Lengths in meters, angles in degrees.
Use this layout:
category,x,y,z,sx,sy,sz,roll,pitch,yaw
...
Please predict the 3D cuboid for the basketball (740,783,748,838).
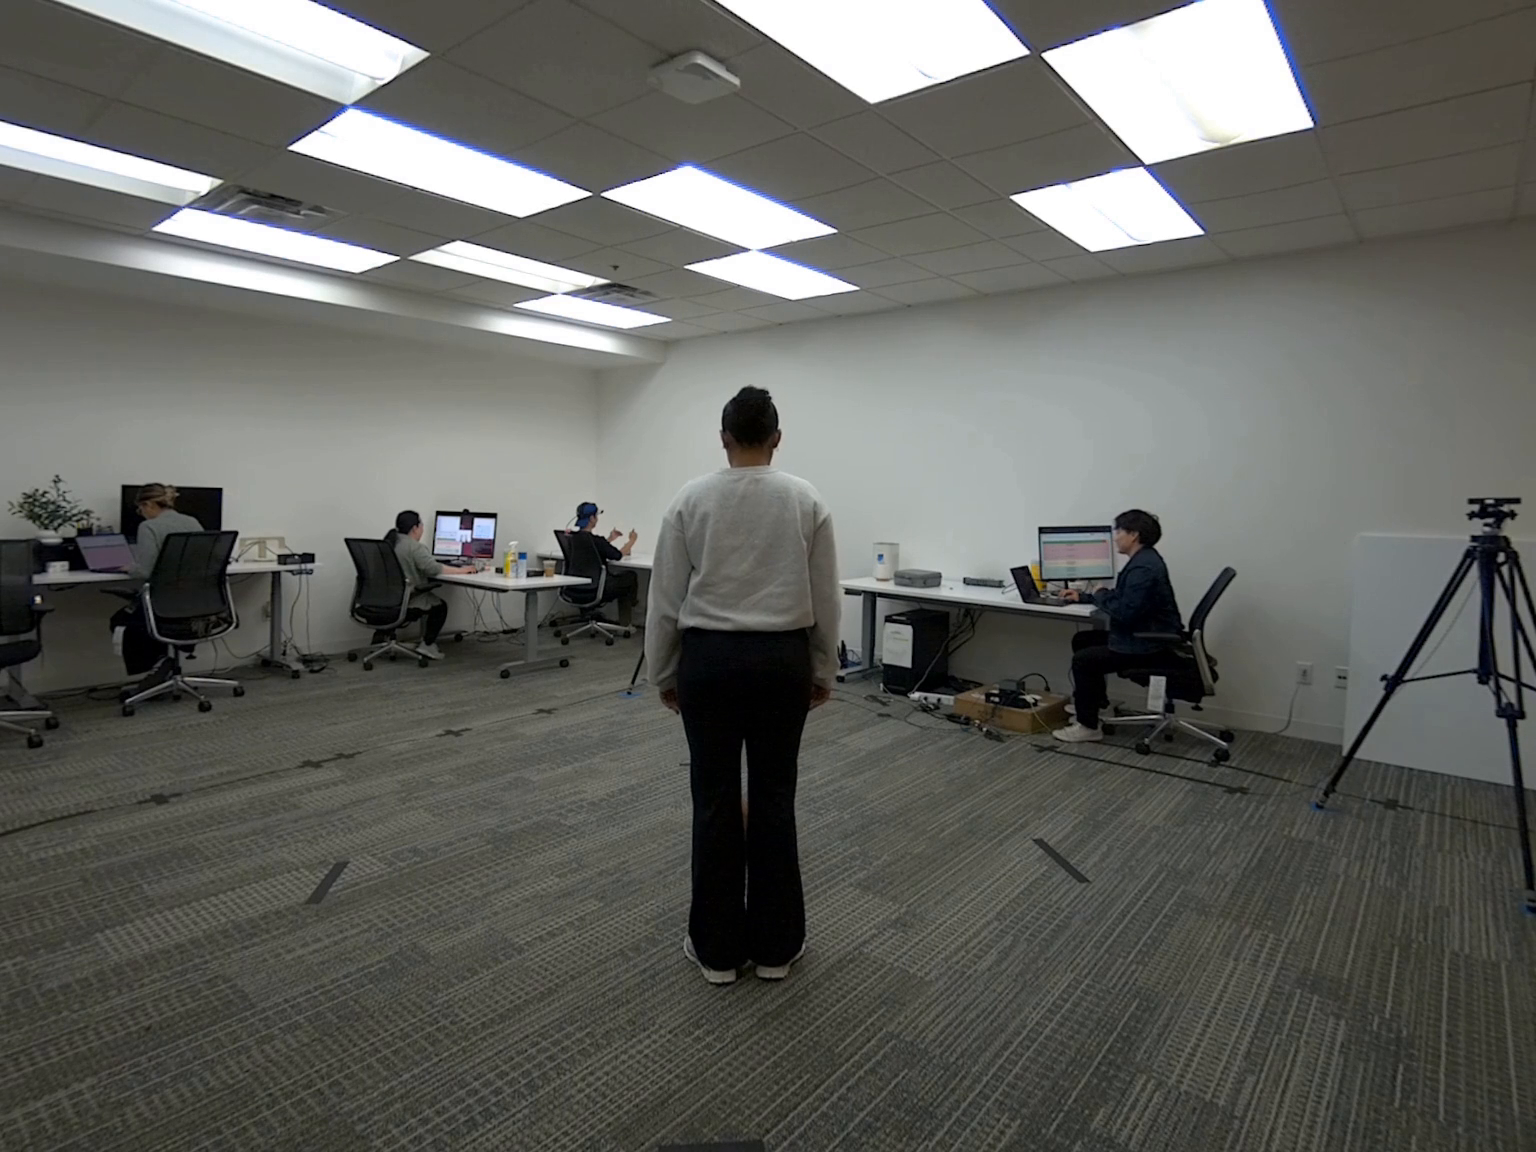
category,x,y,z,sx,sy,sz,roll,pitch,yaw
basketball,-0.055,0.931,3.226,0.235,0.235,0.237,1,4,-2
